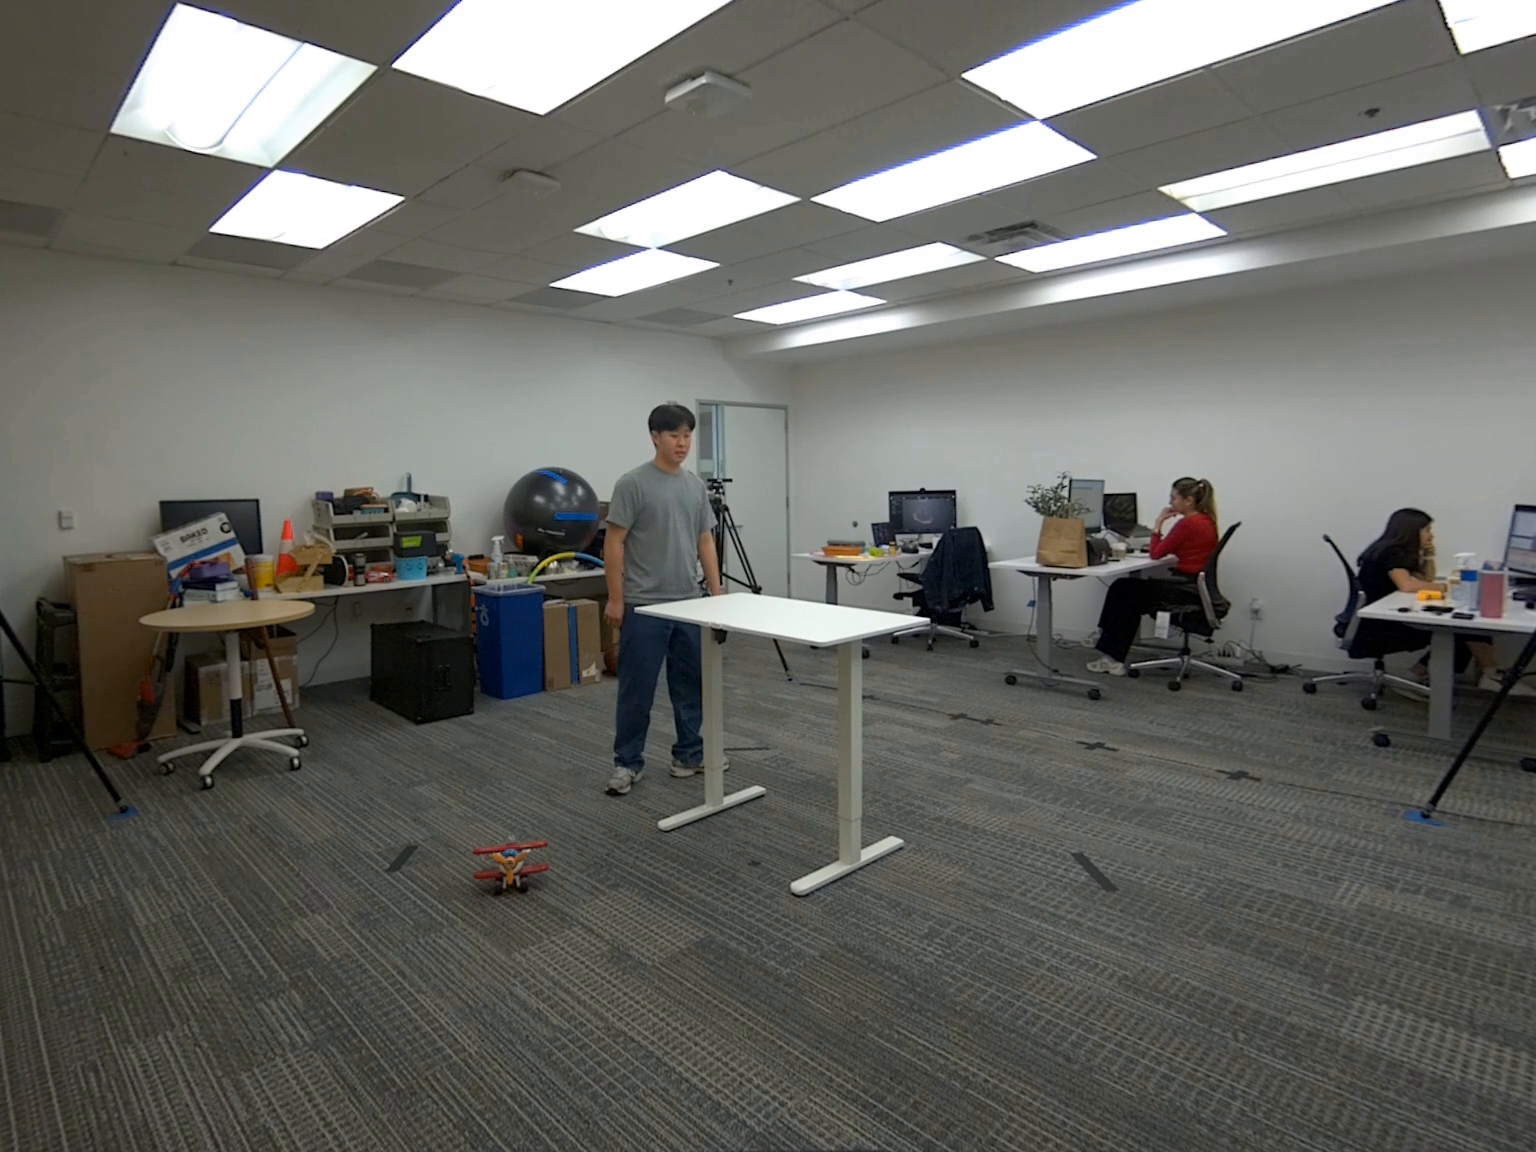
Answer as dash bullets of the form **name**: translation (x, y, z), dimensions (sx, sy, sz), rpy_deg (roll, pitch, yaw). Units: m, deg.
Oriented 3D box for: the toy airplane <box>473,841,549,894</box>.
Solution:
- **toy airplane**: translation (-0.921, 1.003, 2.995), dimensions (0.244, 0.156, 0.267), rpy_deg (-6, 8, -41)
